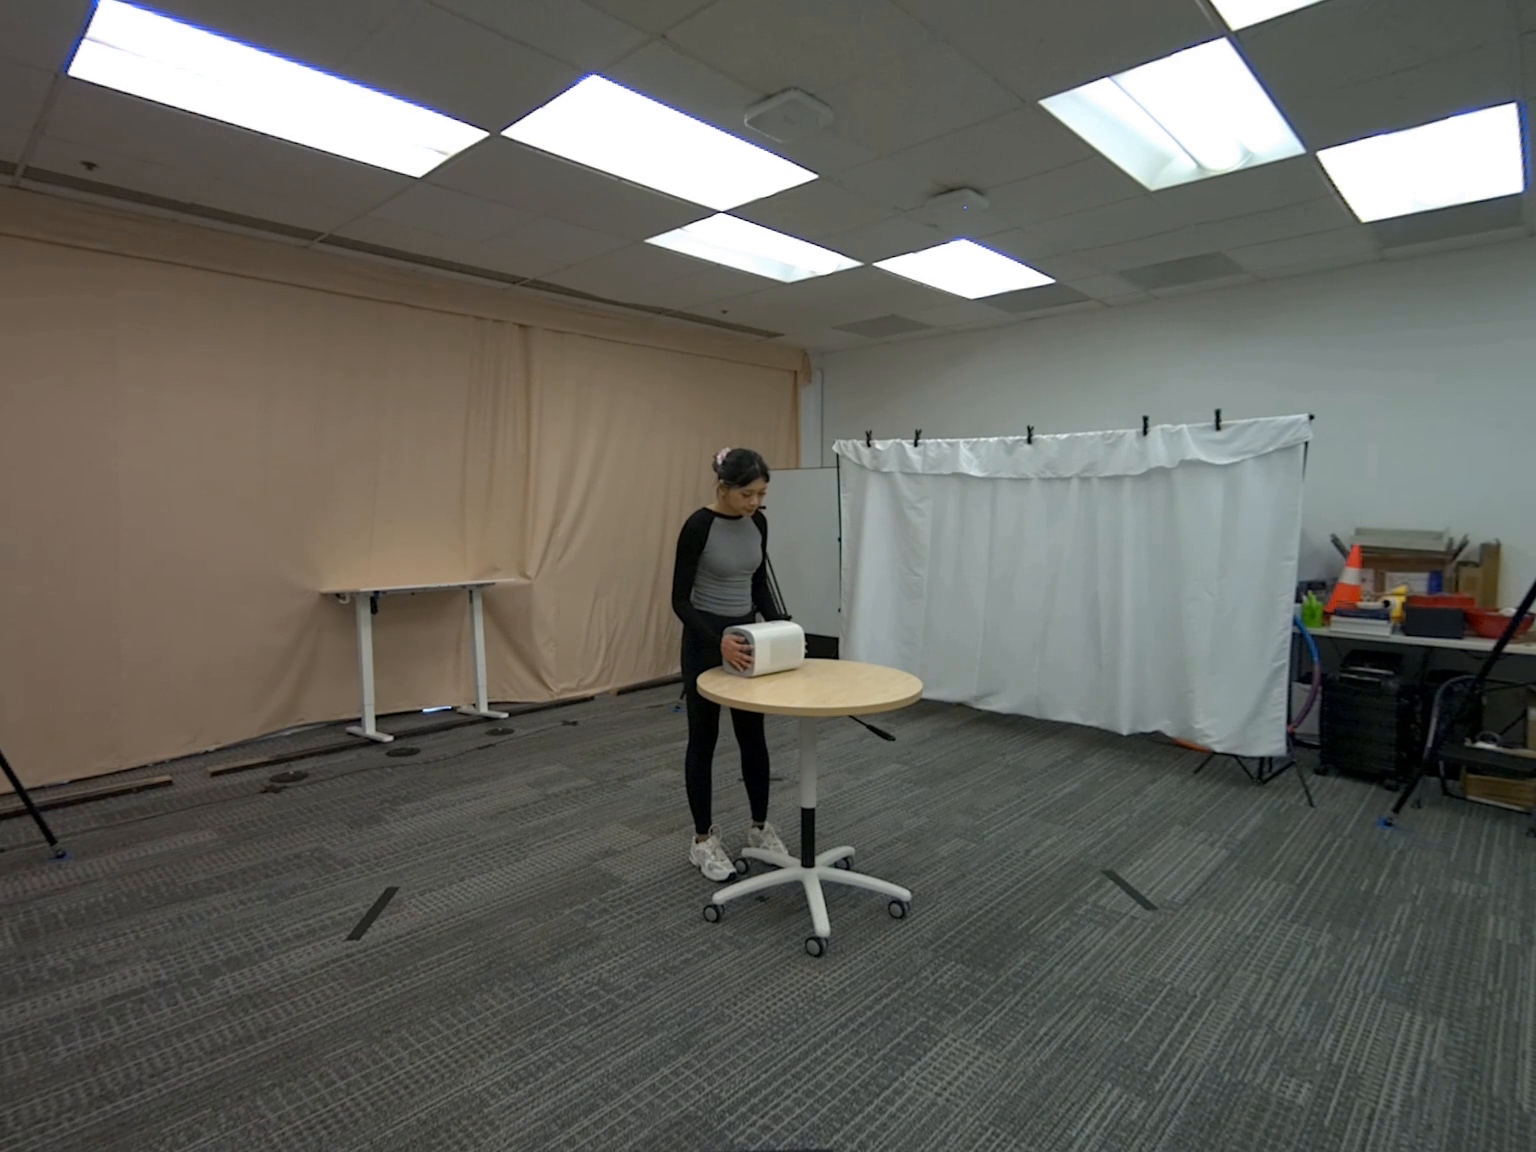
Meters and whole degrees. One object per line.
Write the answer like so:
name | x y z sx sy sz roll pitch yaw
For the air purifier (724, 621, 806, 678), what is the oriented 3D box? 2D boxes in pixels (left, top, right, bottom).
air purifier | -0.003 0.256 3.033 0.257 0.171 0.177 -4 5 -43
